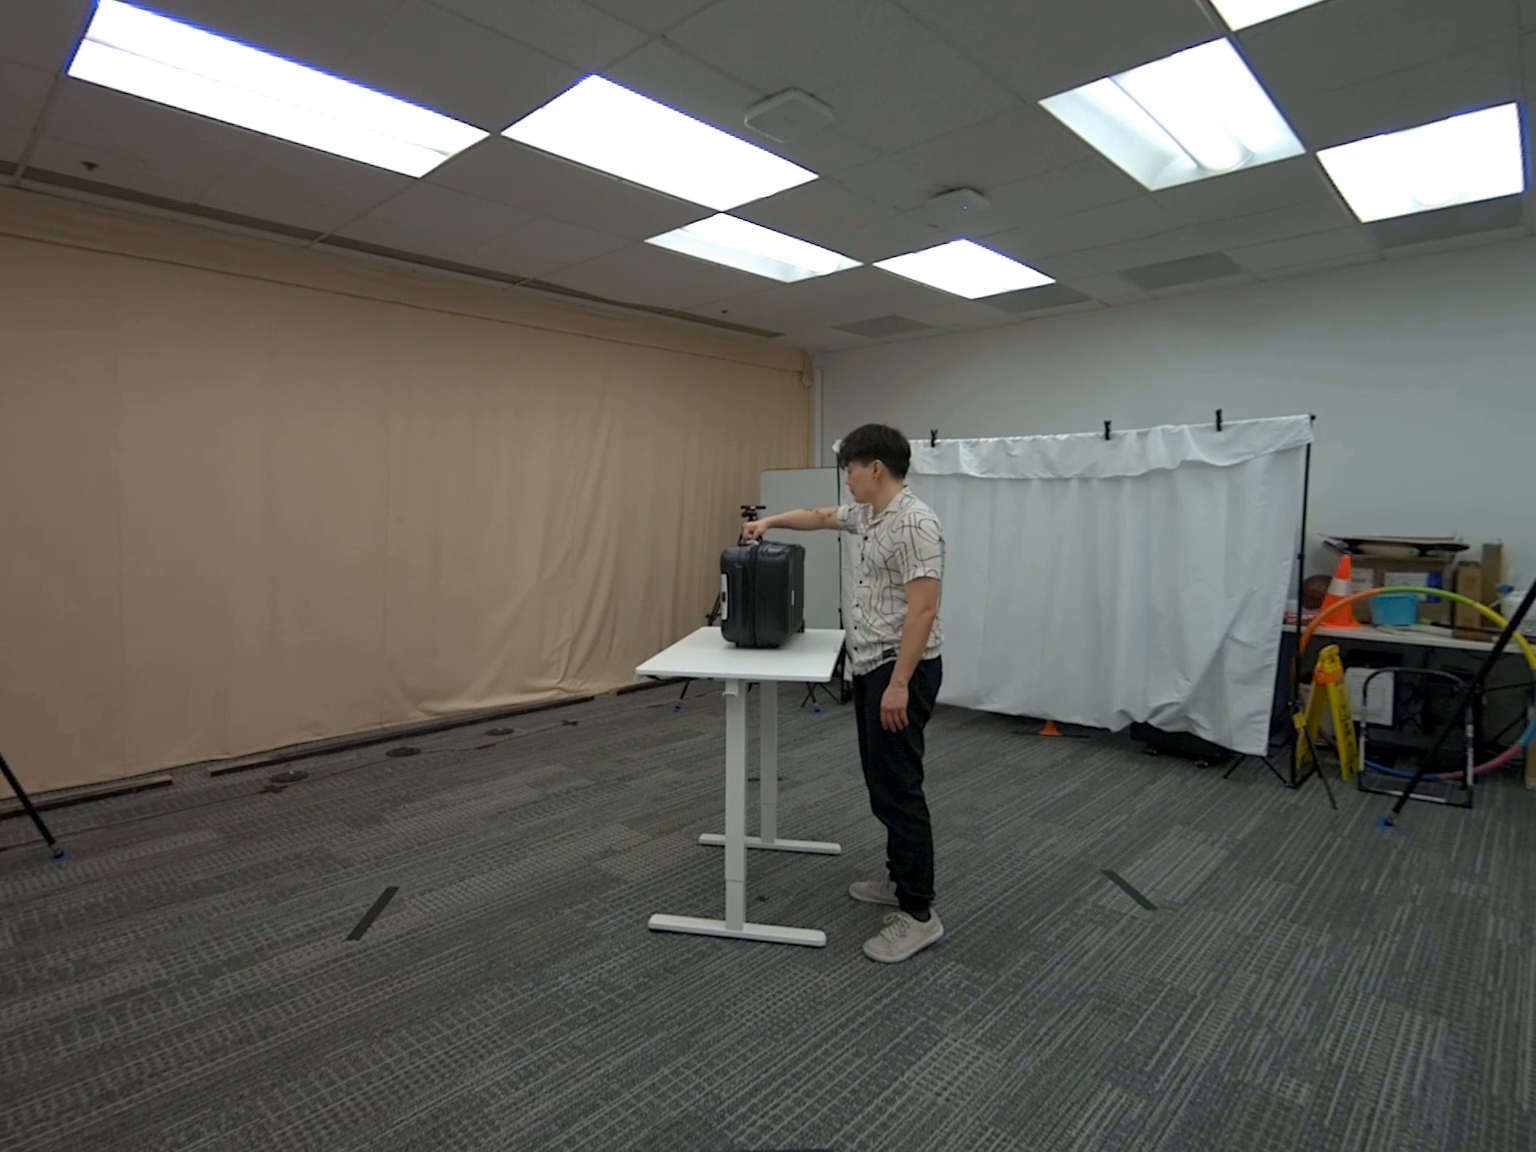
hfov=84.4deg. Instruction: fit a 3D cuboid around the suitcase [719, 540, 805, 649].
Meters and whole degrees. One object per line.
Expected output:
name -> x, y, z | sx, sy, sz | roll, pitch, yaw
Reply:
suitcase -> -0.019, 0.052, 3.181 | 0.251, 0.374, 0.543 | 2, 4, 11
